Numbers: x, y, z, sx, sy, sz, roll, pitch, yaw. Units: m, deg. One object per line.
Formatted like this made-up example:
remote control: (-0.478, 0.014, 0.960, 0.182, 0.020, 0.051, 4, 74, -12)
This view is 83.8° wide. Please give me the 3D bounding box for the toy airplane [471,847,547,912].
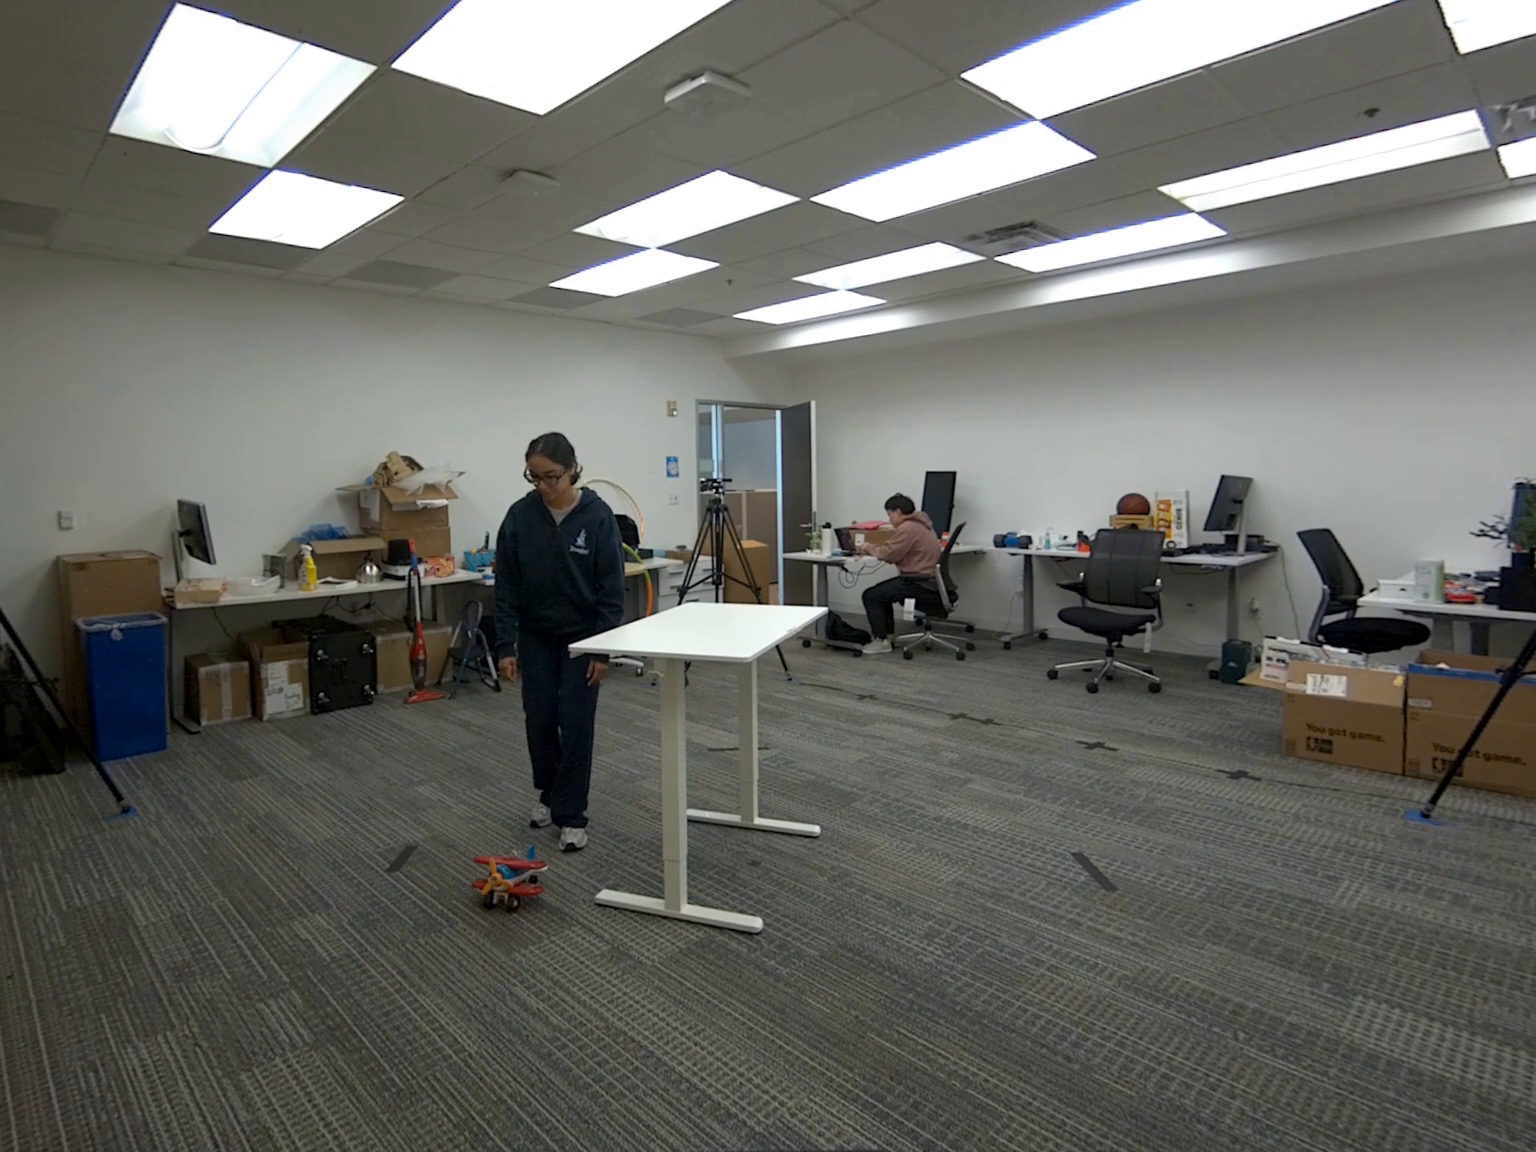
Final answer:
toy airplane: (-0.876, 1.017, 2.876, 0.248, 0.155, 0.264, -4, 8, -13)
